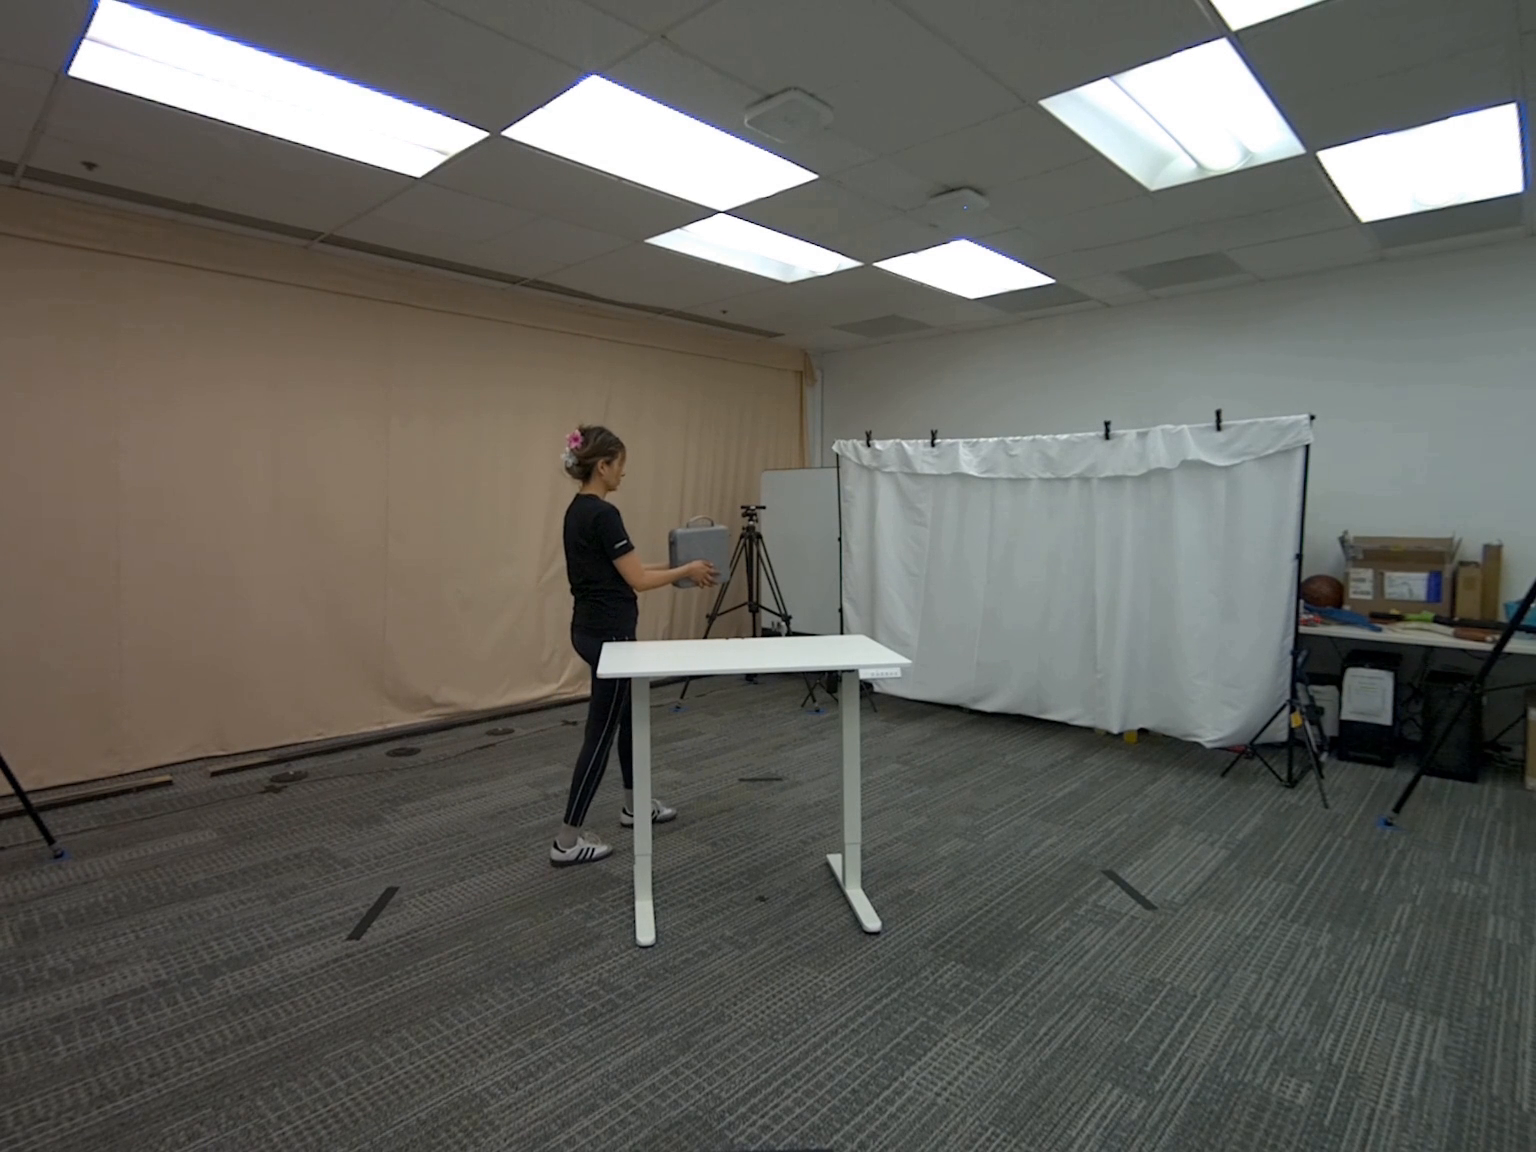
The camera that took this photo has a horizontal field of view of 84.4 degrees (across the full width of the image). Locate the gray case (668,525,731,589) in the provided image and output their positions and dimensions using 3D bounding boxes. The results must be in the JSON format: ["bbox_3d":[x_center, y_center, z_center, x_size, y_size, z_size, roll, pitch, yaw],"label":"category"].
[{"bbox_3d":[-0.286,-0.092,3.570,0.252,0.258,0.107,-7,12,-22],"label":"gray case"}]
